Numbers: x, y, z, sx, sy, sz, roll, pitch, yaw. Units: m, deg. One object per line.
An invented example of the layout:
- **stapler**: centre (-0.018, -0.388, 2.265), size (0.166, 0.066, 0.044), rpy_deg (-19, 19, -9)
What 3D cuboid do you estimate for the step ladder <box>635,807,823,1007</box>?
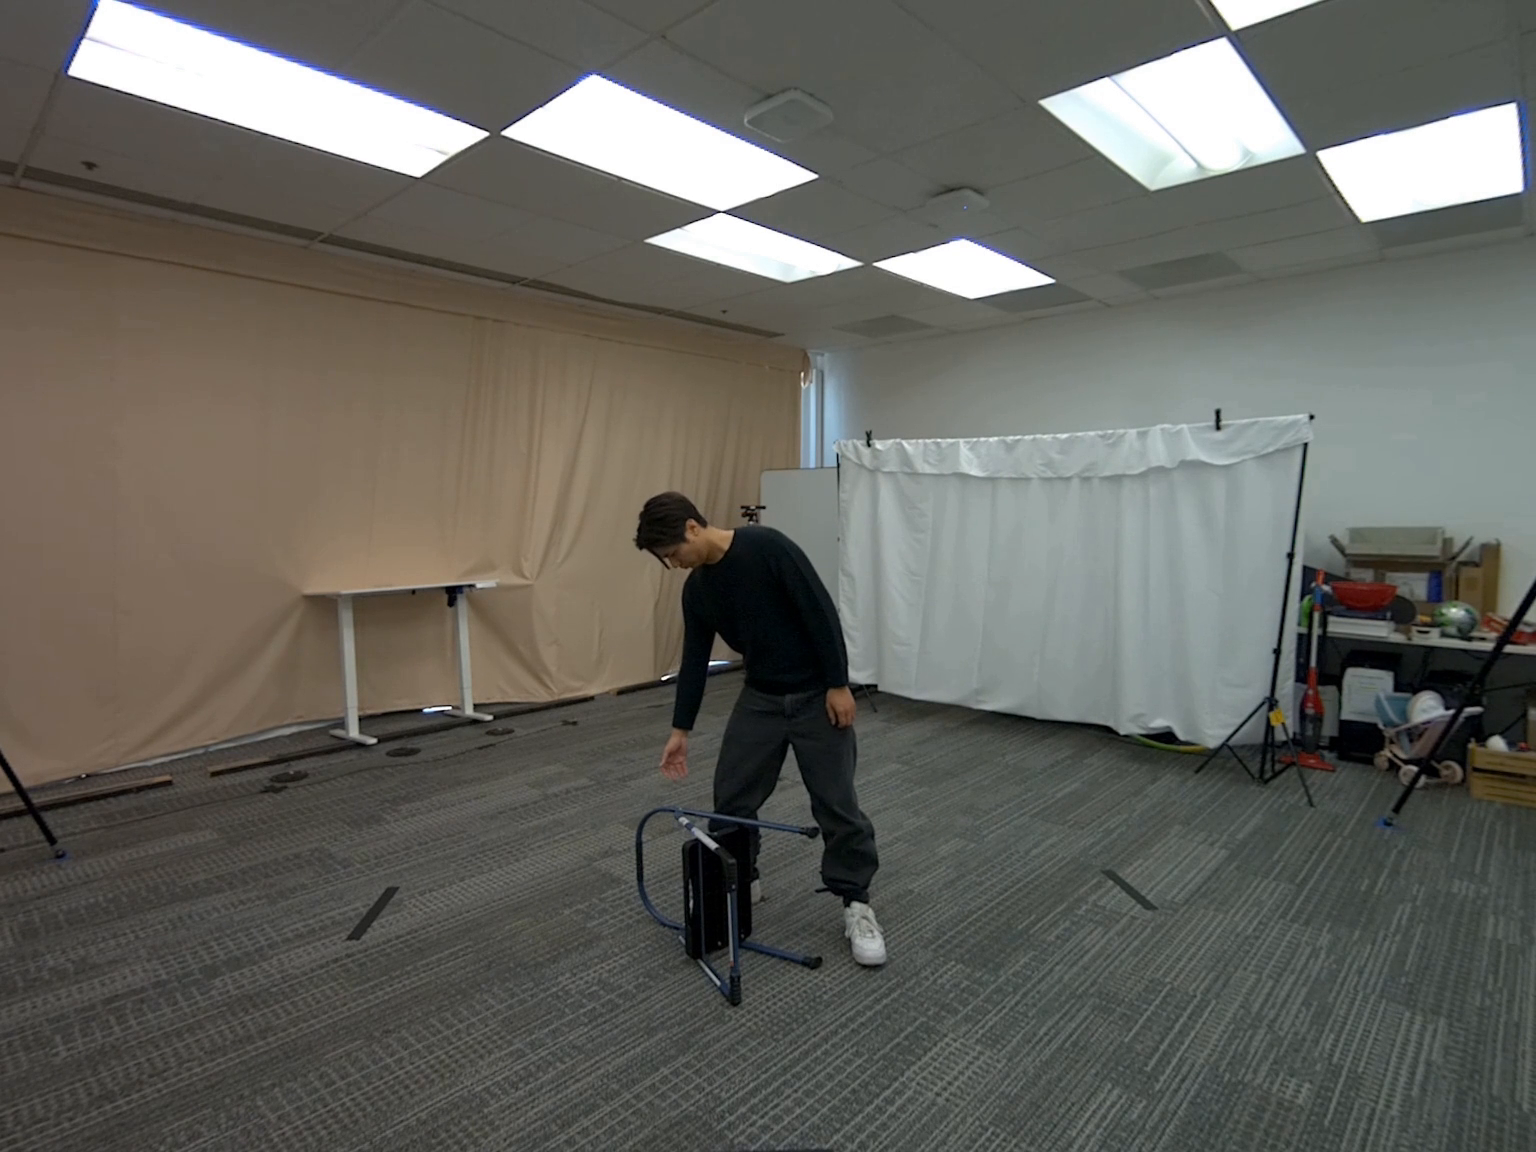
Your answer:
- **step ladder**: centre (-0.174, 0.967, 2.653), size (0.339, 0.430, 0.626), rpy_deg (-4, 4, -42)
